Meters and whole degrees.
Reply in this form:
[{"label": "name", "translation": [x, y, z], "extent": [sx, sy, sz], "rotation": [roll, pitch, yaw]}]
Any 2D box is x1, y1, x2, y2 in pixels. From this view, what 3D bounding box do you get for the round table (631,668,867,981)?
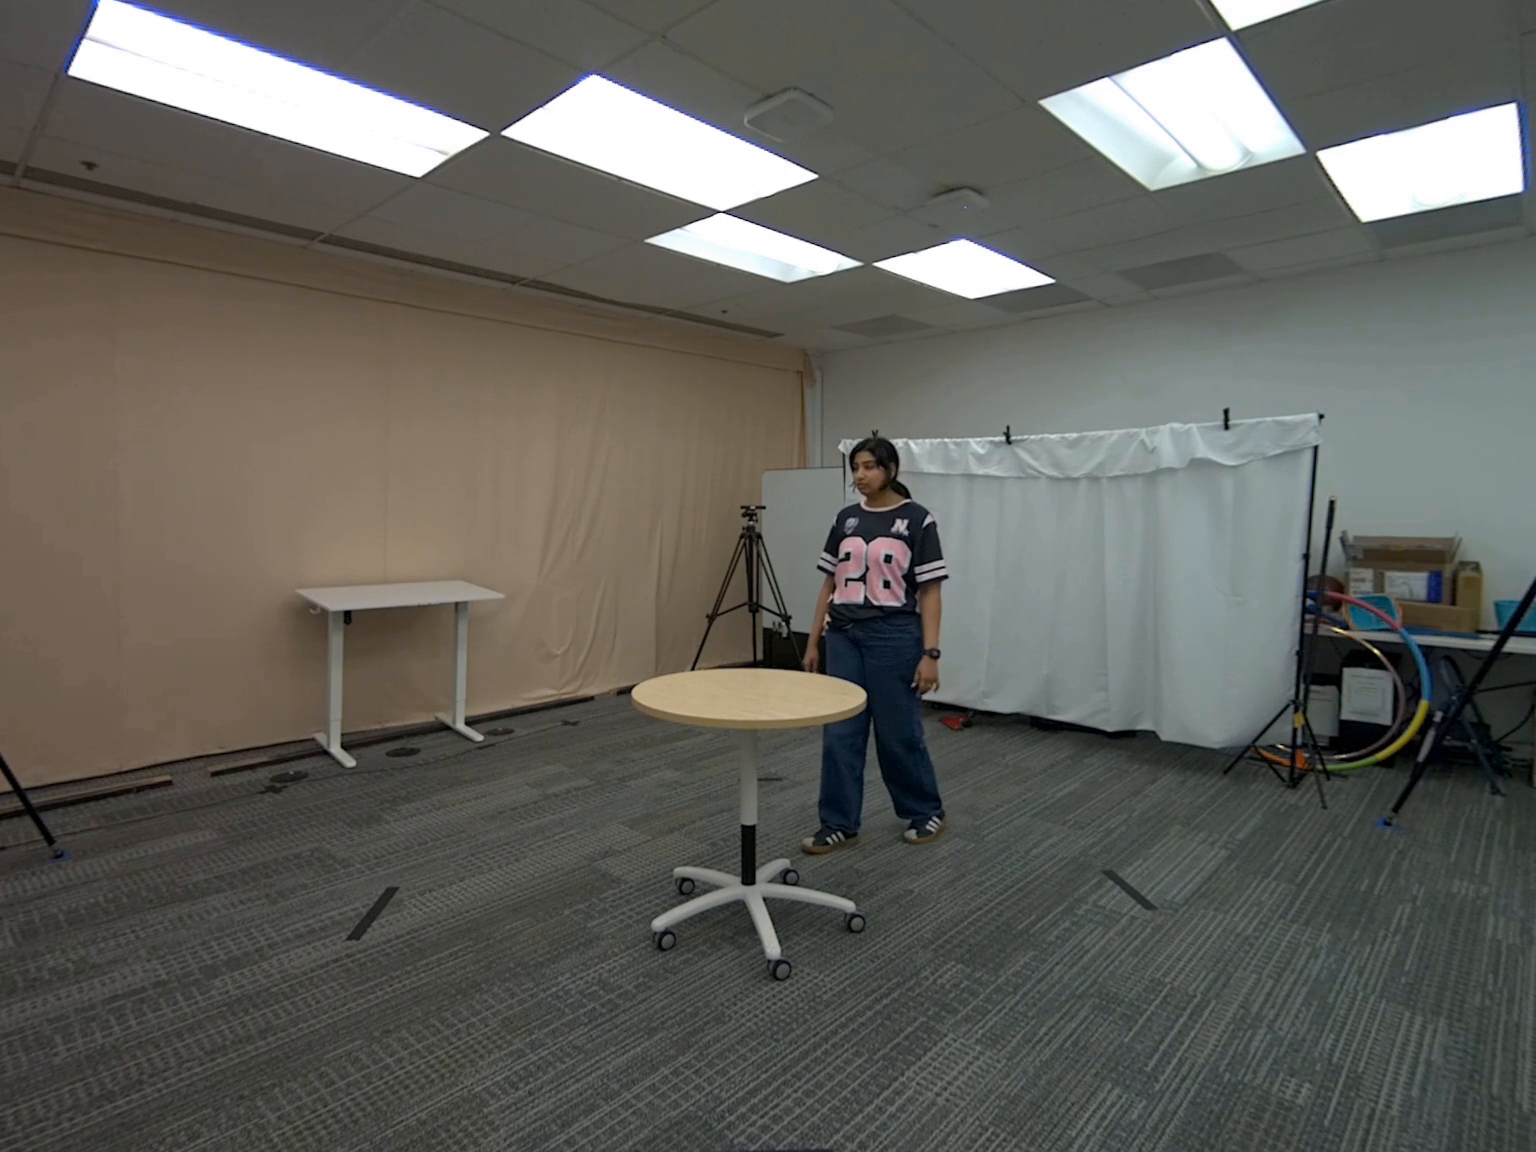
[{"label": "round table", "translation": [-0.073, 0.769, 2.782], "extent": [0.784, 0.785, 0.787], "rotation": [0, 3, -2]}]
